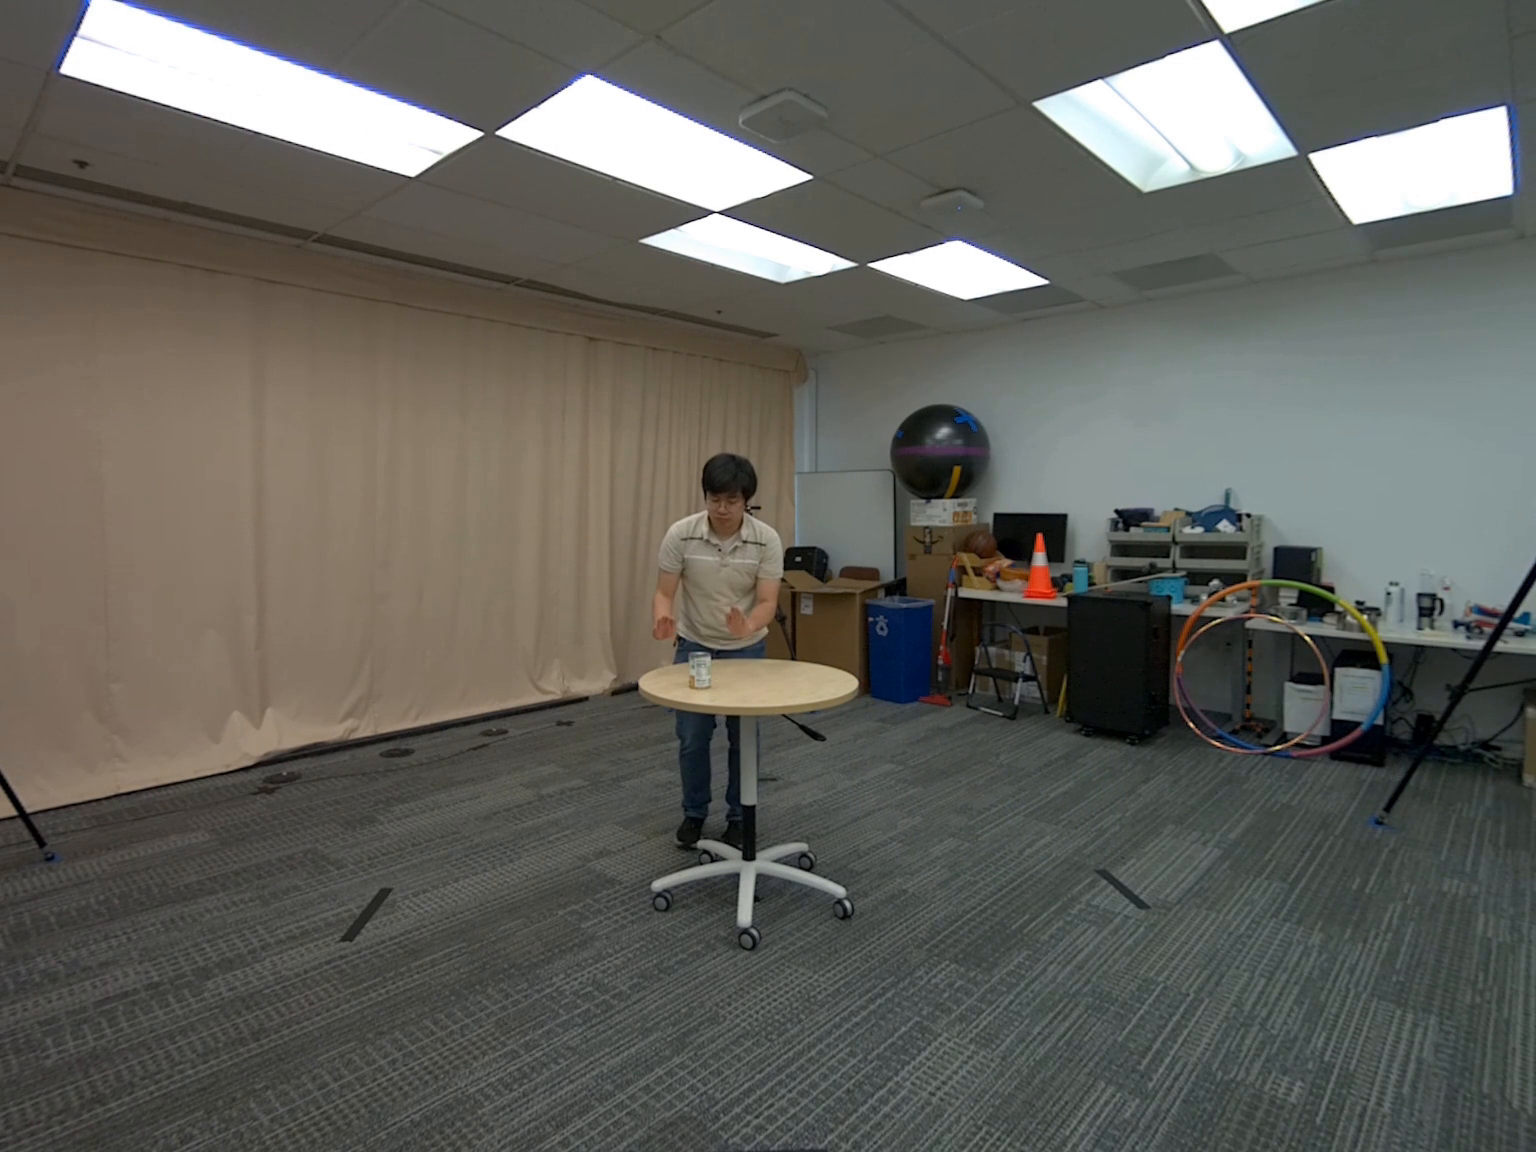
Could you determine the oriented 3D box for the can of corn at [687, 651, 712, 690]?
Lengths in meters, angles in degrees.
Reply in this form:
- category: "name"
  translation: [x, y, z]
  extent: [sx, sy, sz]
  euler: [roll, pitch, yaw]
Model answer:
- category: "can of corn"
  translation: [-0.232, 0.320, 2.839]
  extent: [0.074, 0.111, 0.074]
  euler: [-1, 3, -2]
